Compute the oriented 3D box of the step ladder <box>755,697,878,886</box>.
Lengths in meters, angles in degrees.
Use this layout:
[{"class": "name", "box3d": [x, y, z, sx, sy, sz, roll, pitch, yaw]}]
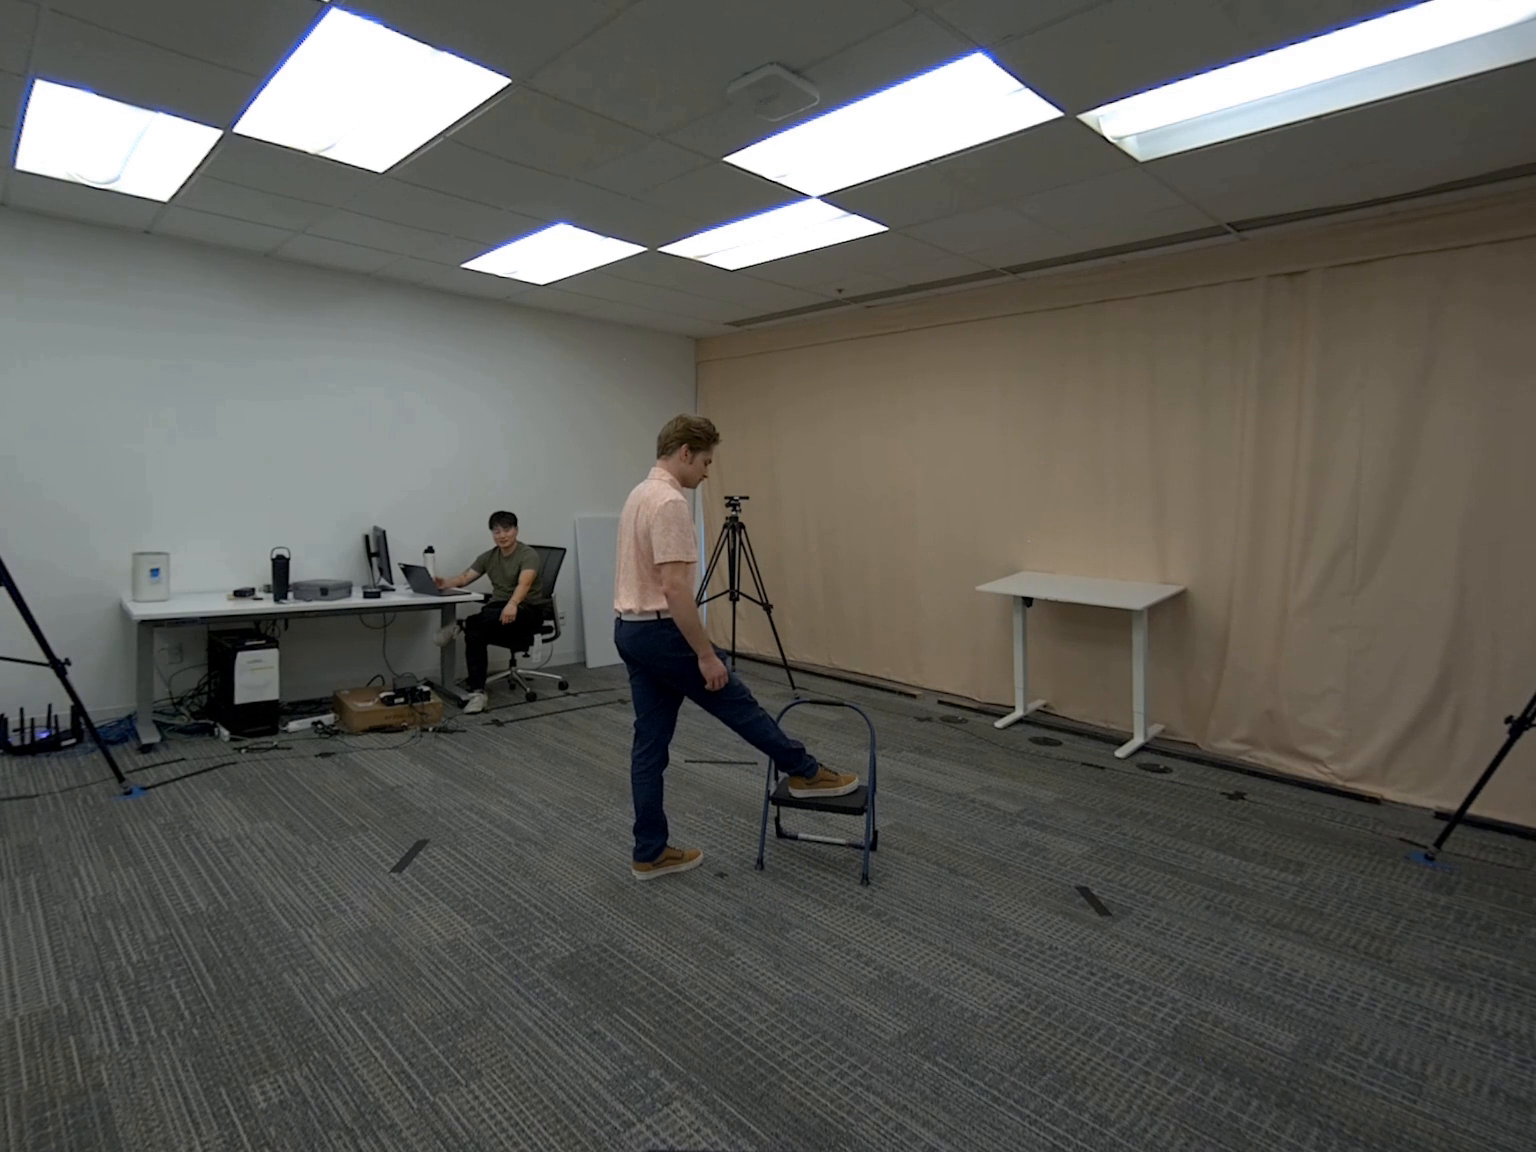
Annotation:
[{"class": "step ladder", "box3d": [0.200, 0.798, 3.256, 0.436, 0.605, 0.346, 2, 3, 14]}]
